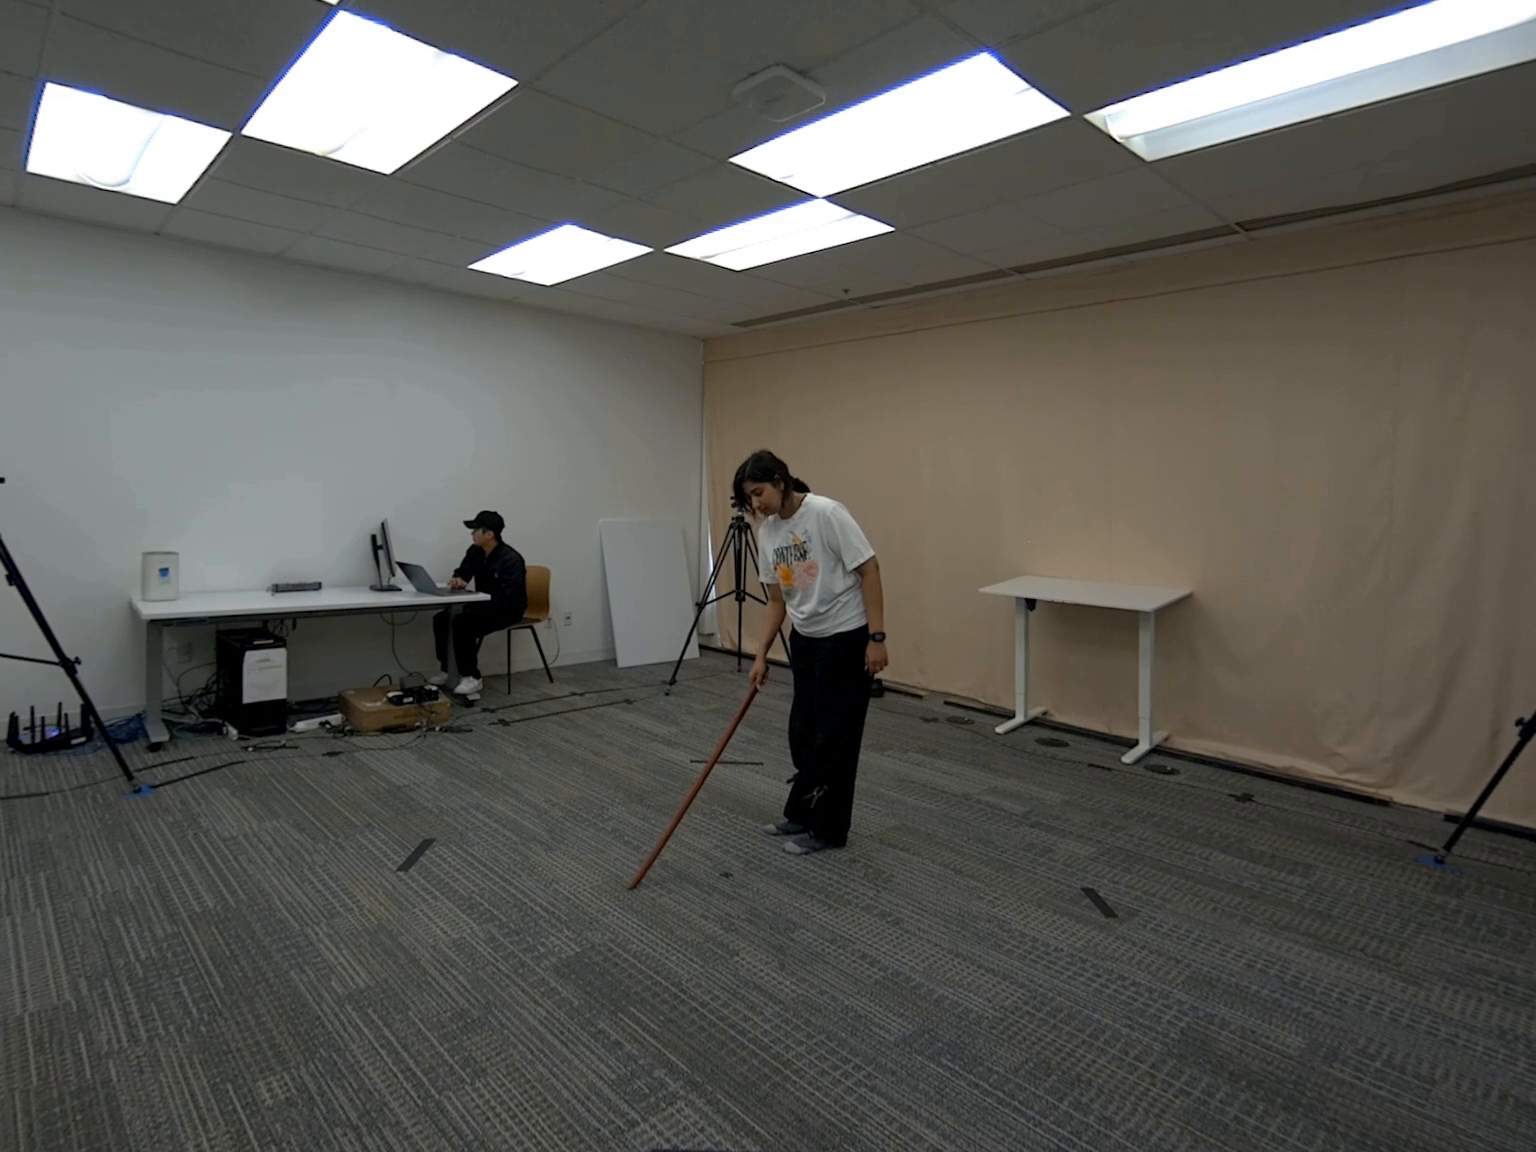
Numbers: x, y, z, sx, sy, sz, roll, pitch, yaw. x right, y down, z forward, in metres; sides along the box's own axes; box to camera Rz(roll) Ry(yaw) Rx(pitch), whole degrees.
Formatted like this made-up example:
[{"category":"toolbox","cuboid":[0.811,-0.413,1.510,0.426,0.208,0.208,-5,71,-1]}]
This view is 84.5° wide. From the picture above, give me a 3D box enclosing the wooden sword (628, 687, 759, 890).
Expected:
[{"category":"wooden sword","cuboid":[-0.243,0.748,3.251,0.024,1.028,0.051,40,-35,-8]}]
